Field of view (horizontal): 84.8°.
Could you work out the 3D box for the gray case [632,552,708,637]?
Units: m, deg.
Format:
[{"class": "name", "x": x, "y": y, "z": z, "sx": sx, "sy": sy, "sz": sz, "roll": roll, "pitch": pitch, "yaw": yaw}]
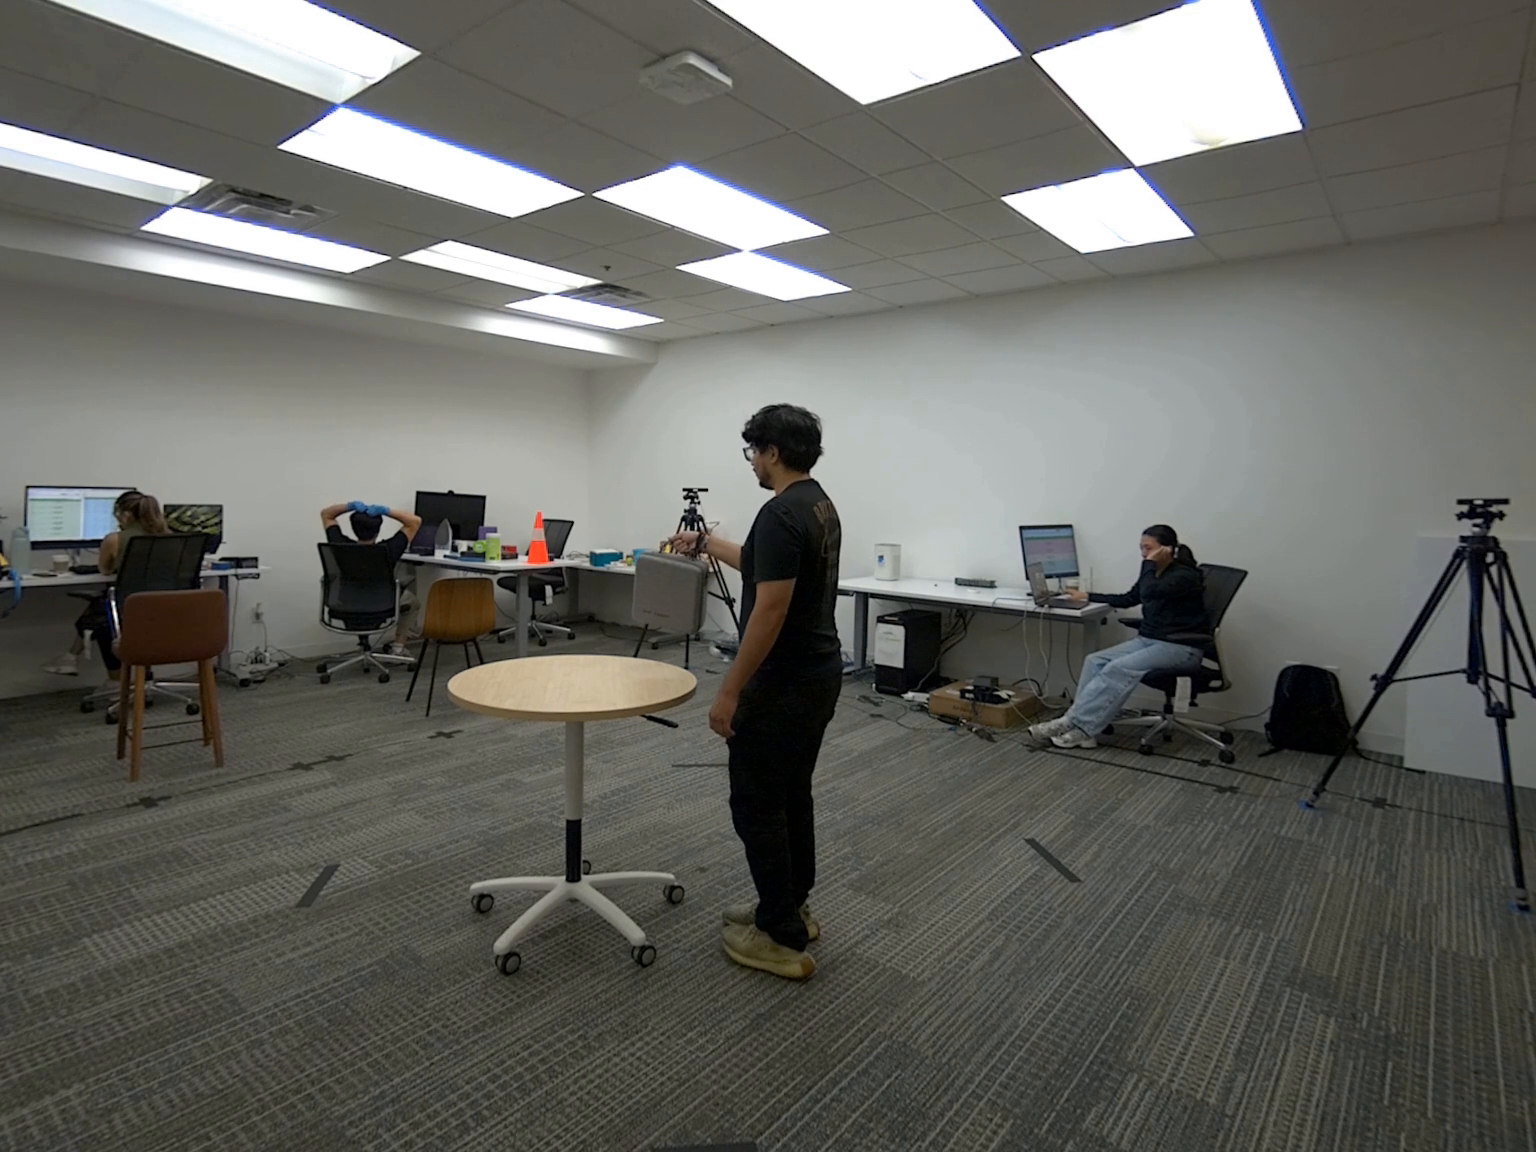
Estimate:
[{"class": "gray case", "x": -0.347, "y": 0.046, "z": 2.947, "sx": 0.263, "sy": 0.258, "sz": 0.103, "roll": 12, "pitch": 14, "yaw": 19}]
